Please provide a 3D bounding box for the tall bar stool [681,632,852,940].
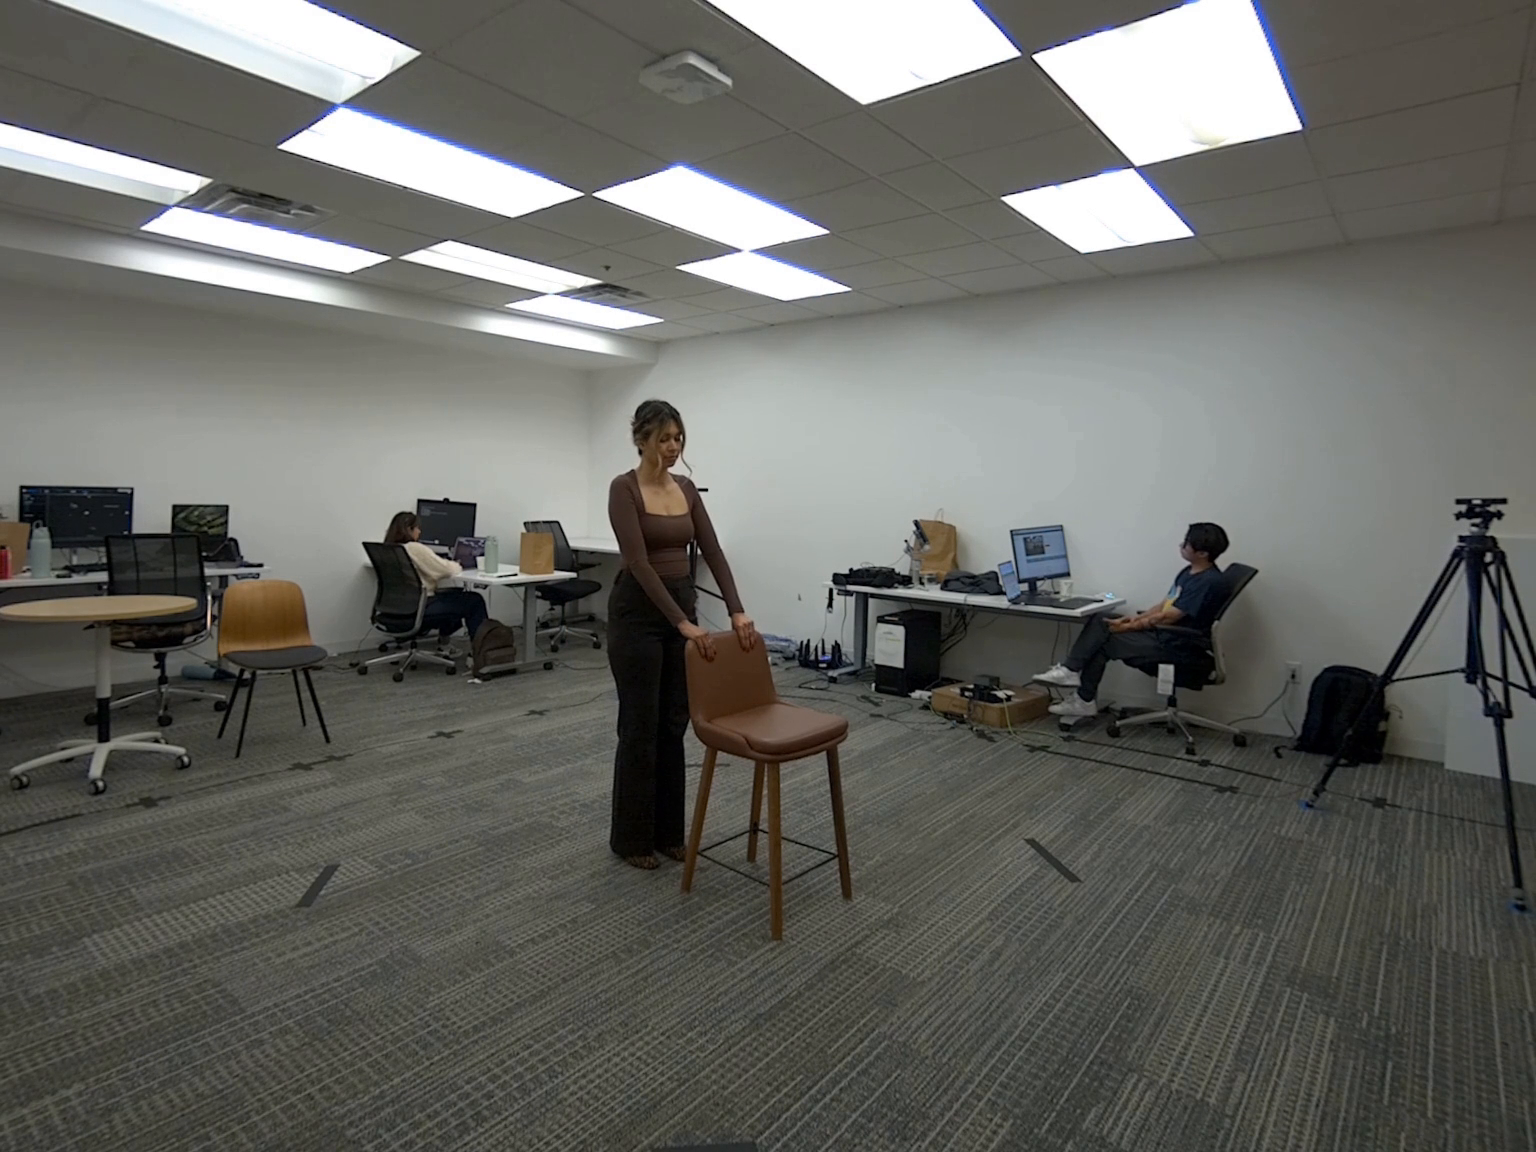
[{"bbox_3d":[-0.014,0.656,2.906,0.483,0.888,0.442,1,2,42],"label":"tall bar stool"}]
